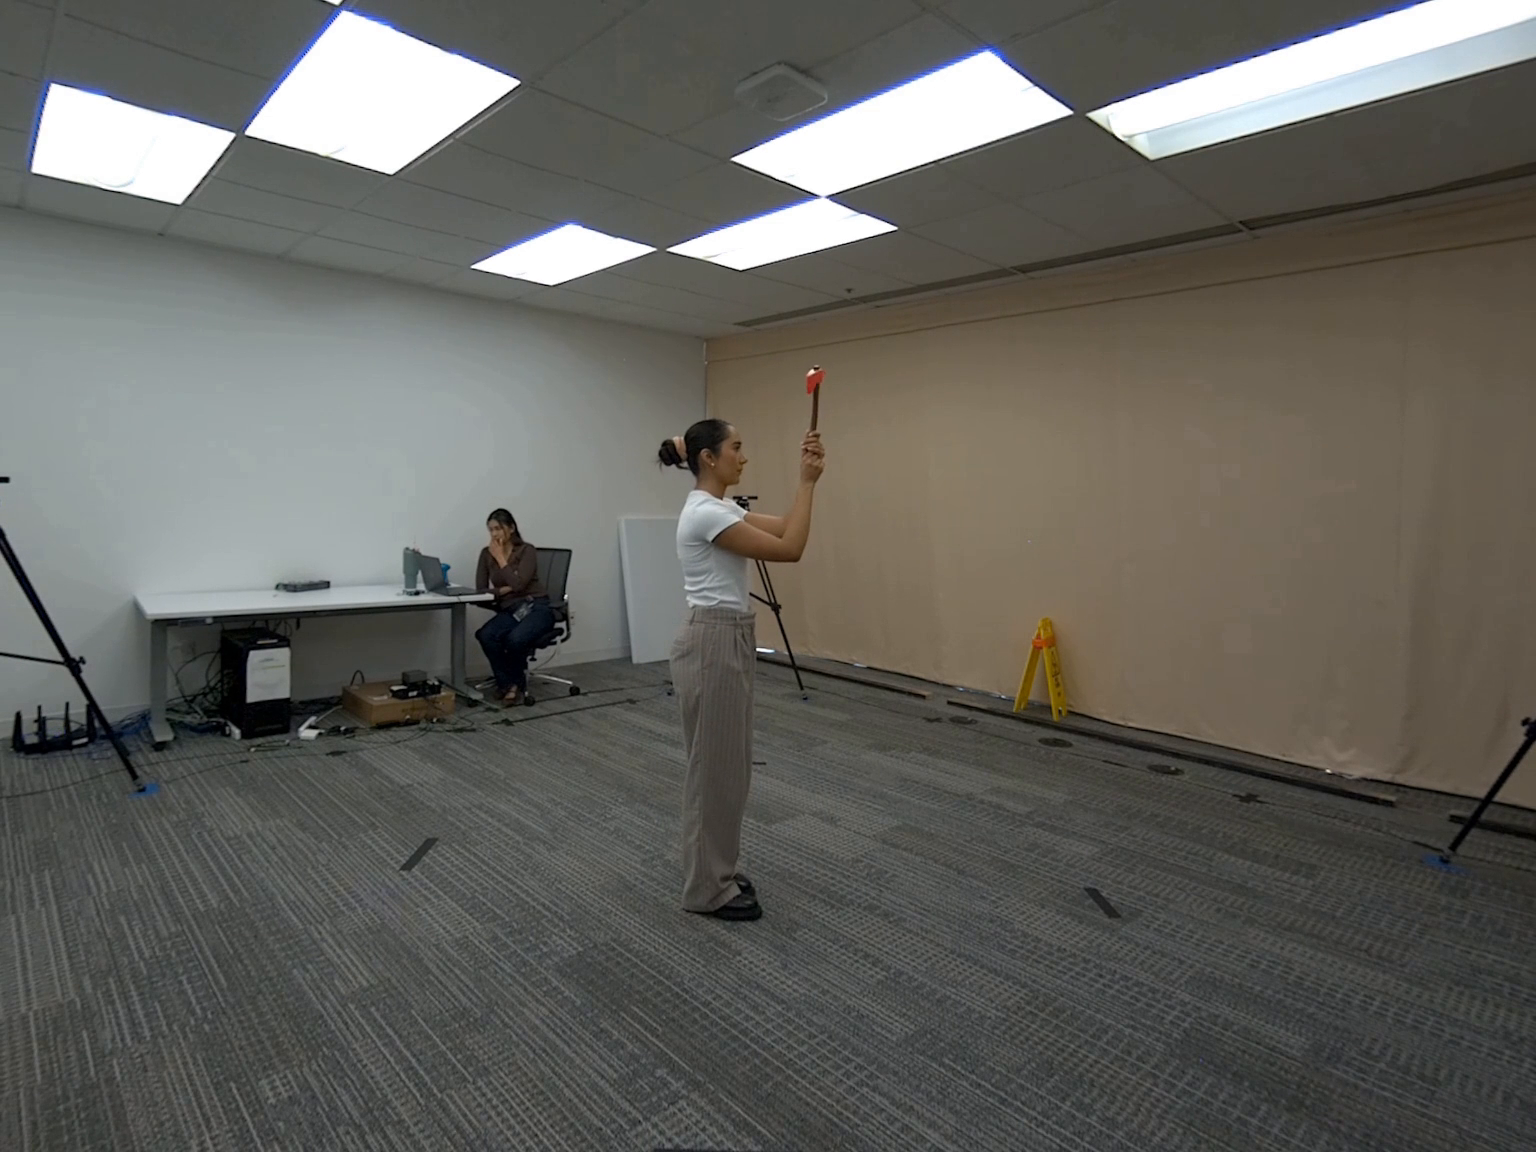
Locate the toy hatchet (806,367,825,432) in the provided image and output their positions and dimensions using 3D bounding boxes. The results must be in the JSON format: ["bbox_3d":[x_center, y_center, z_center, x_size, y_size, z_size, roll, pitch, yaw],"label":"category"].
[{"bbox_3d":[0.133,-0.534,2.674,0.030,0.269,0.129,9,4,22],"label":"toy hatchet"}]
